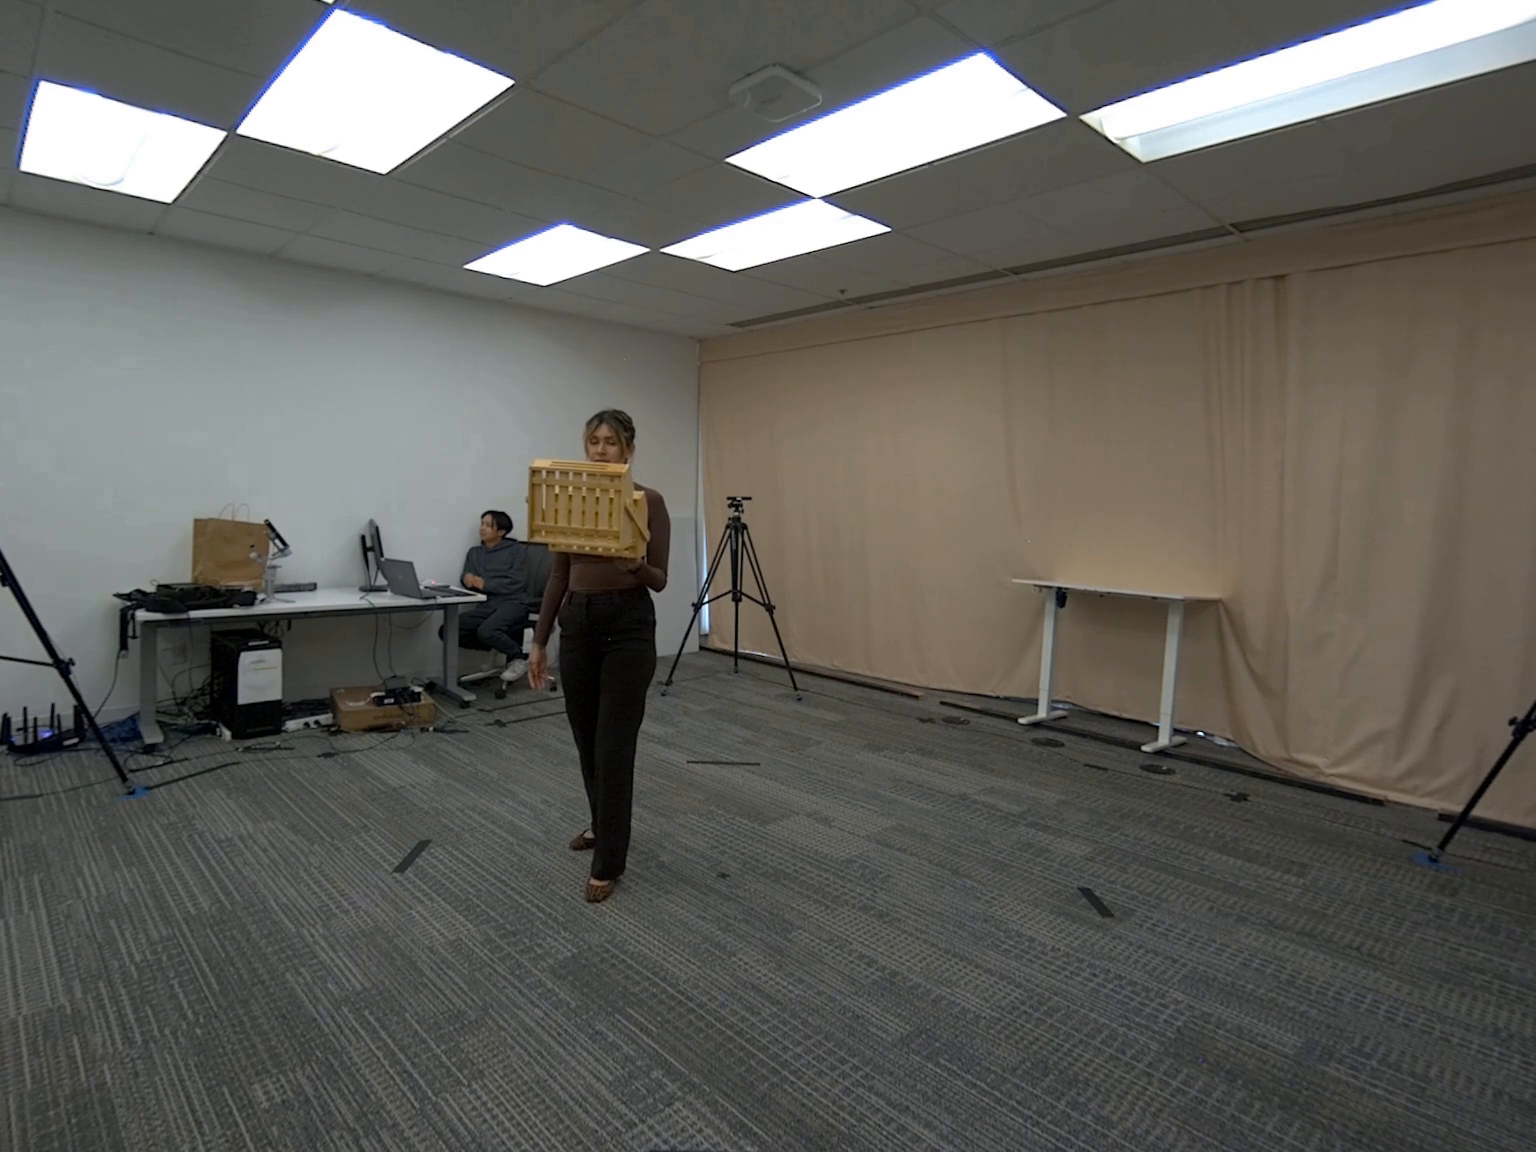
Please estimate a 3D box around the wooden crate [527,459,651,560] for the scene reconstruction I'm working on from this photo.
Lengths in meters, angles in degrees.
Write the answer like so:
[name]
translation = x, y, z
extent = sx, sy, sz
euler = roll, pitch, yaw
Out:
[wooden crate]
translation = -0.574, -0.212, 2.639
extent = 0.327, 0.300, 0.273
euler = 4, 8, 9
